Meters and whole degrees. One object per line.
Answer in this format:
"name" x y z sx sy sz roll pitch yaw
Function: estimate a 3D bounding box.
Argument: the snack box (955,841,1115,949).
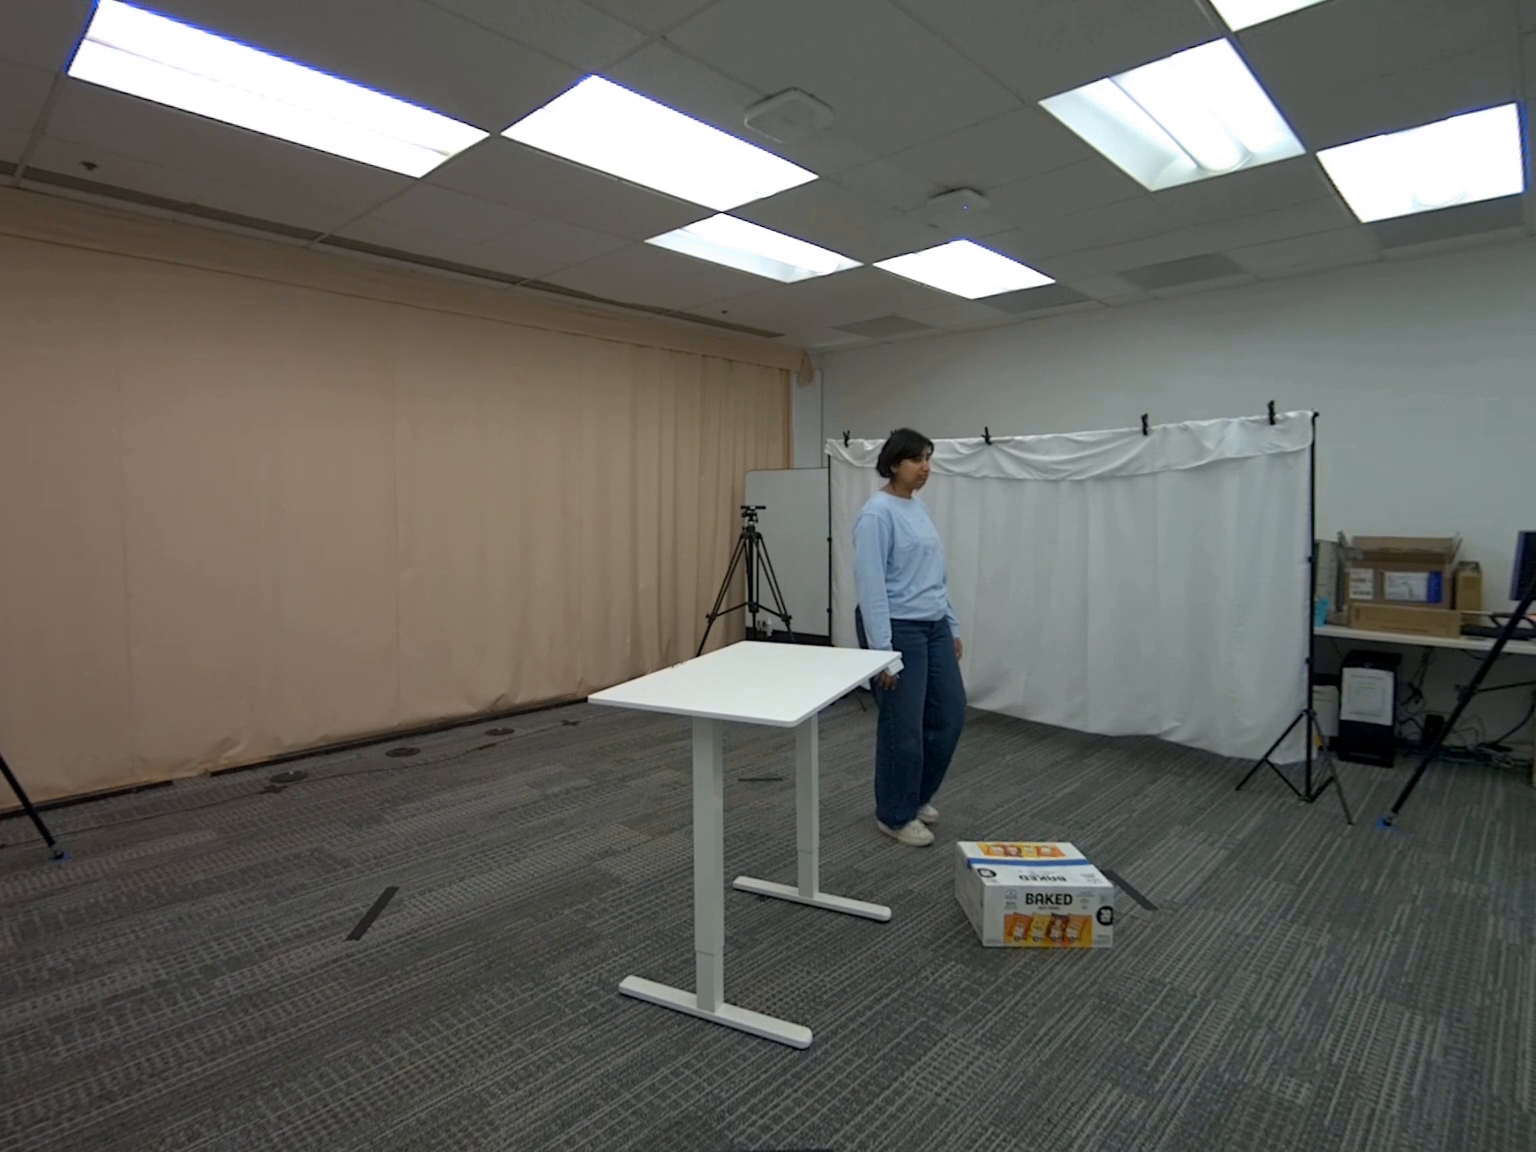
"snack box" 0.869 1.048 2.806 0.405 0.205 0.341 0 4 -1
